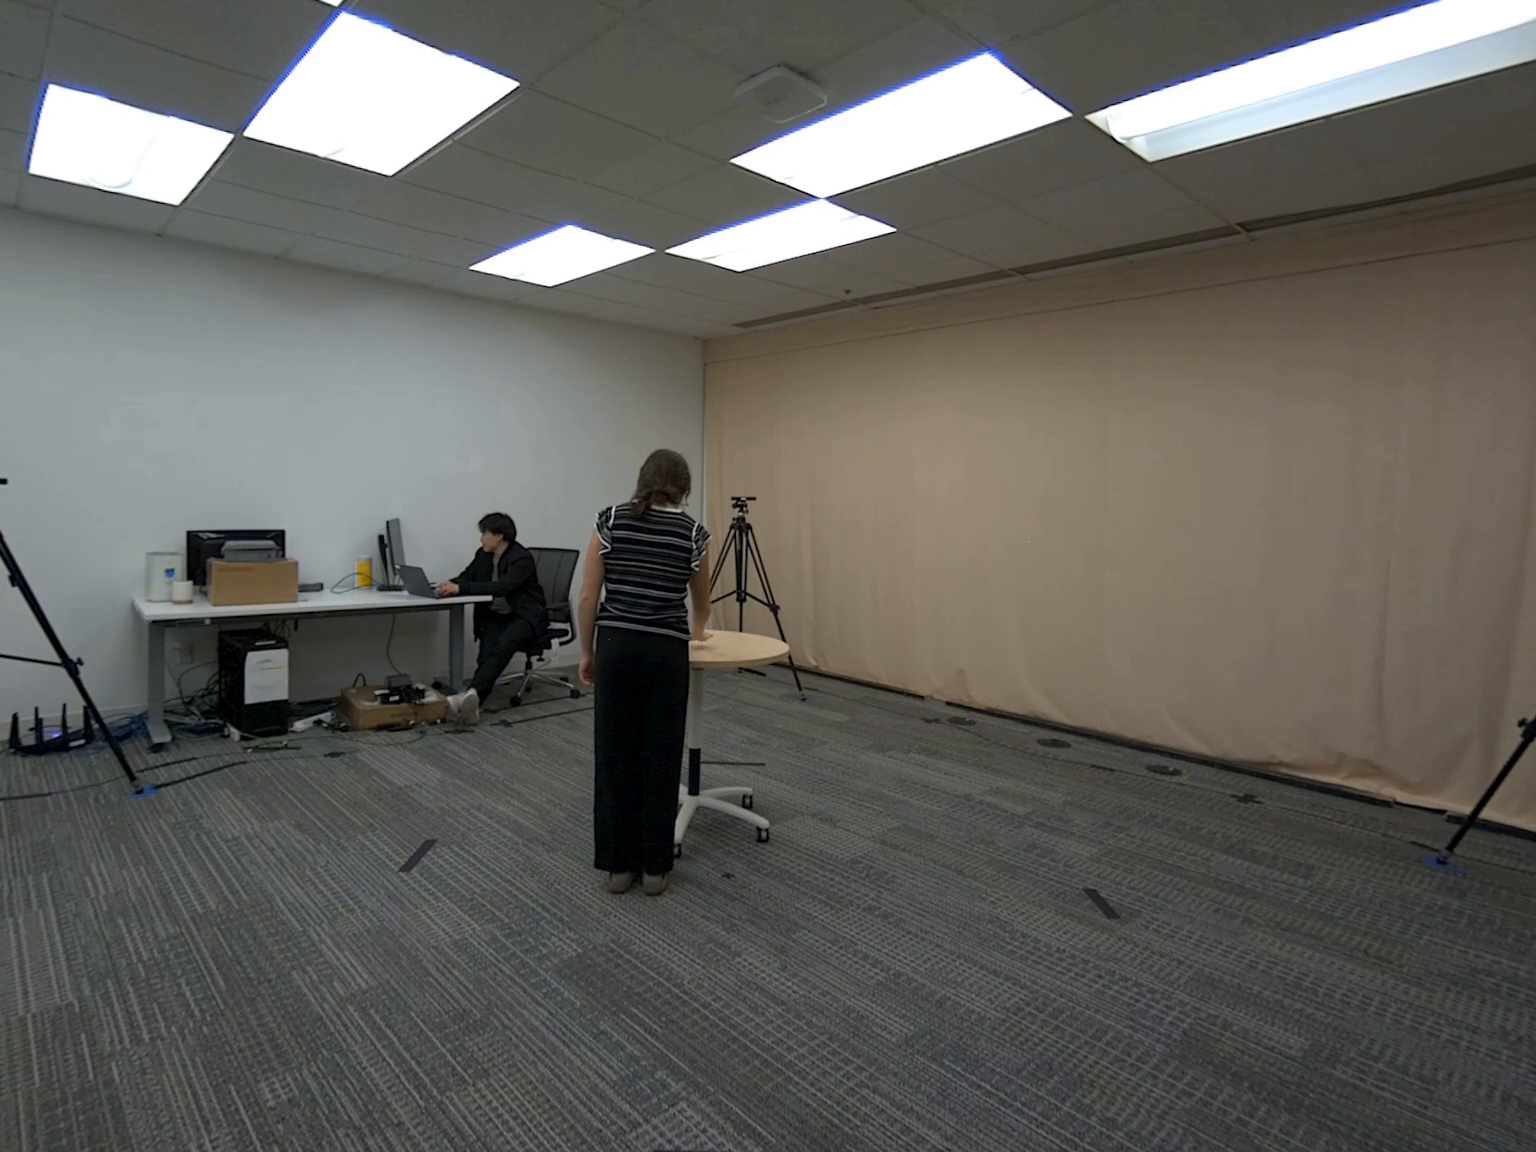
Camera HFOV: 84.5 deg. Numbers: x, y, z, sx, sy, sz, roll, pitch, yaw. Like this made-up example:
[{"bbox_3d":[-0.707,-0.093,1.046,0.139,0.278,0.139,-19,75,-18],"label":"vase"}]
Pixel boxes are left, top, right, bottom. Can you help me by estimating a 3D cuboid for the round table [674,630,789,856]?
[{"bbox_3d":[-0.313,0.677,3.549,0.763,0.792,0.766,2,4,-1],"label":"round table"}]
